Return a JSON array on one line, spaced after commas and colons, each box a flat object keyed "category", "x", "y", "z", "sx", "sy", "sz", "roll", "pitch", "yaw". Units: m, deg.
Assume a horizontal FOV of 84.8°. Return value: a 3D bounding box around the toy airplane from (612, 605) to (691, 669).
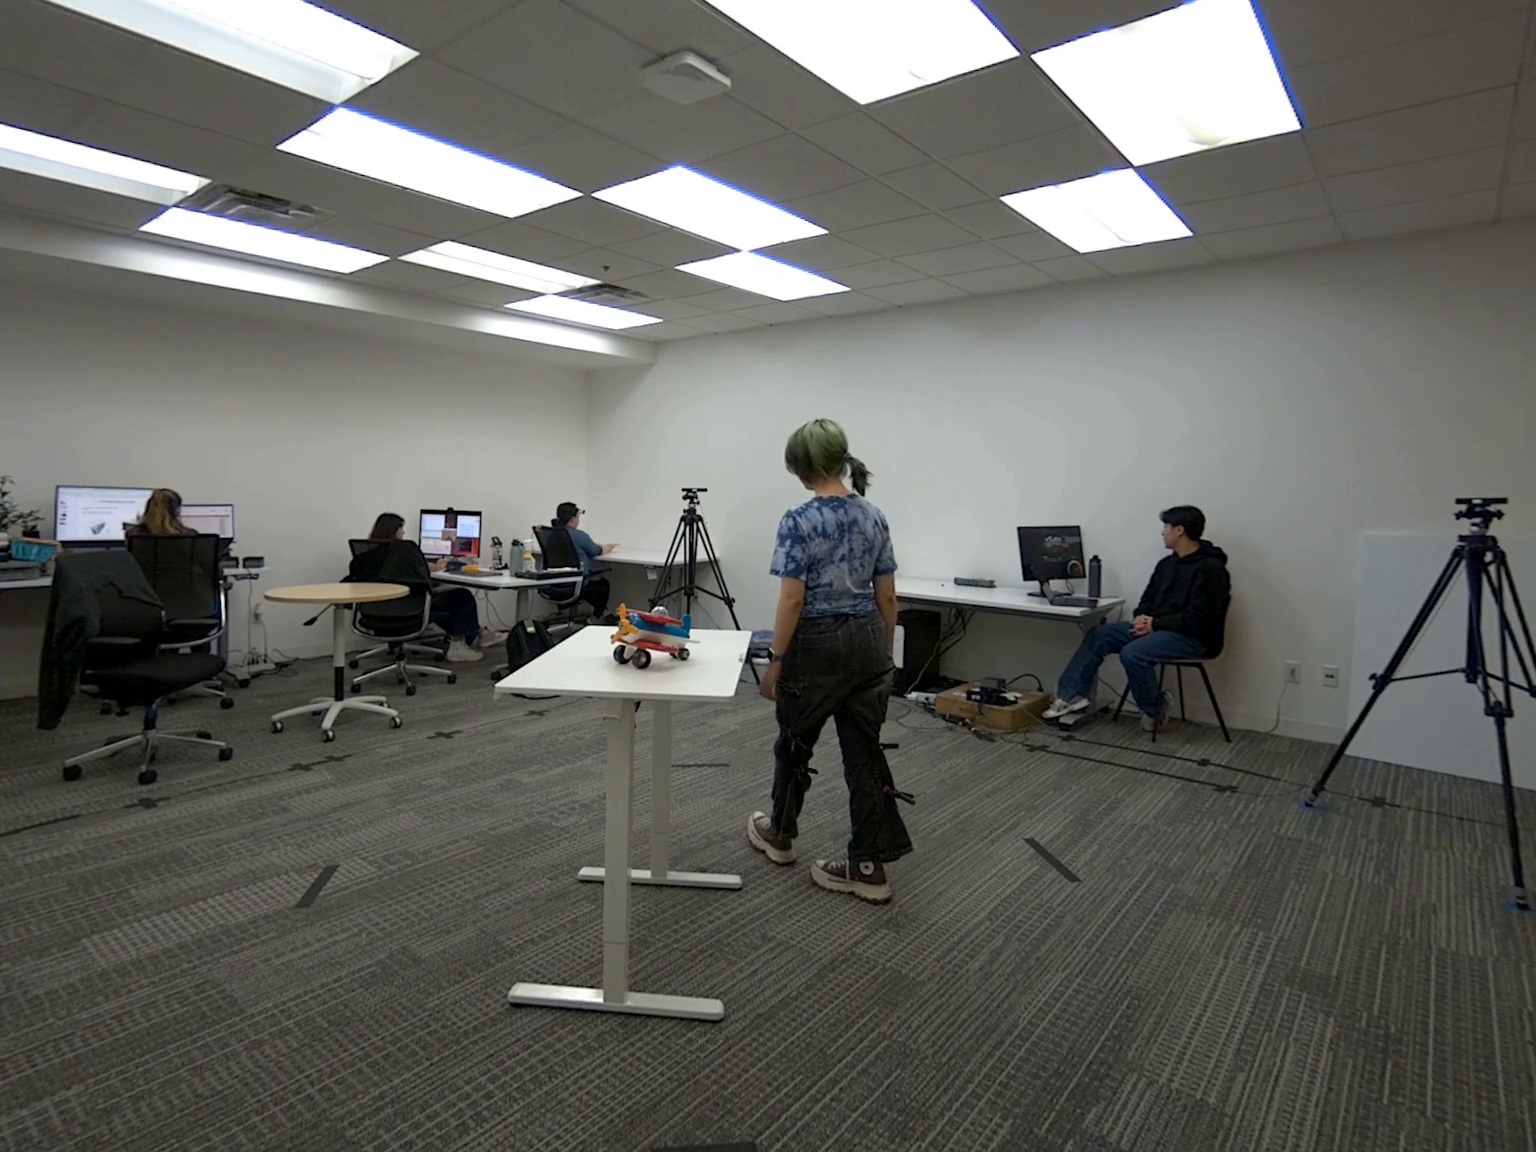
[{"category": "toy airplane", "x": -0.352, "y": 0.173, "z": 2.471, "sx": 0.256, "sy": 0.156, "sz": 0.255, "roll": 3, "pitch": 5, "yaw": 17}]
